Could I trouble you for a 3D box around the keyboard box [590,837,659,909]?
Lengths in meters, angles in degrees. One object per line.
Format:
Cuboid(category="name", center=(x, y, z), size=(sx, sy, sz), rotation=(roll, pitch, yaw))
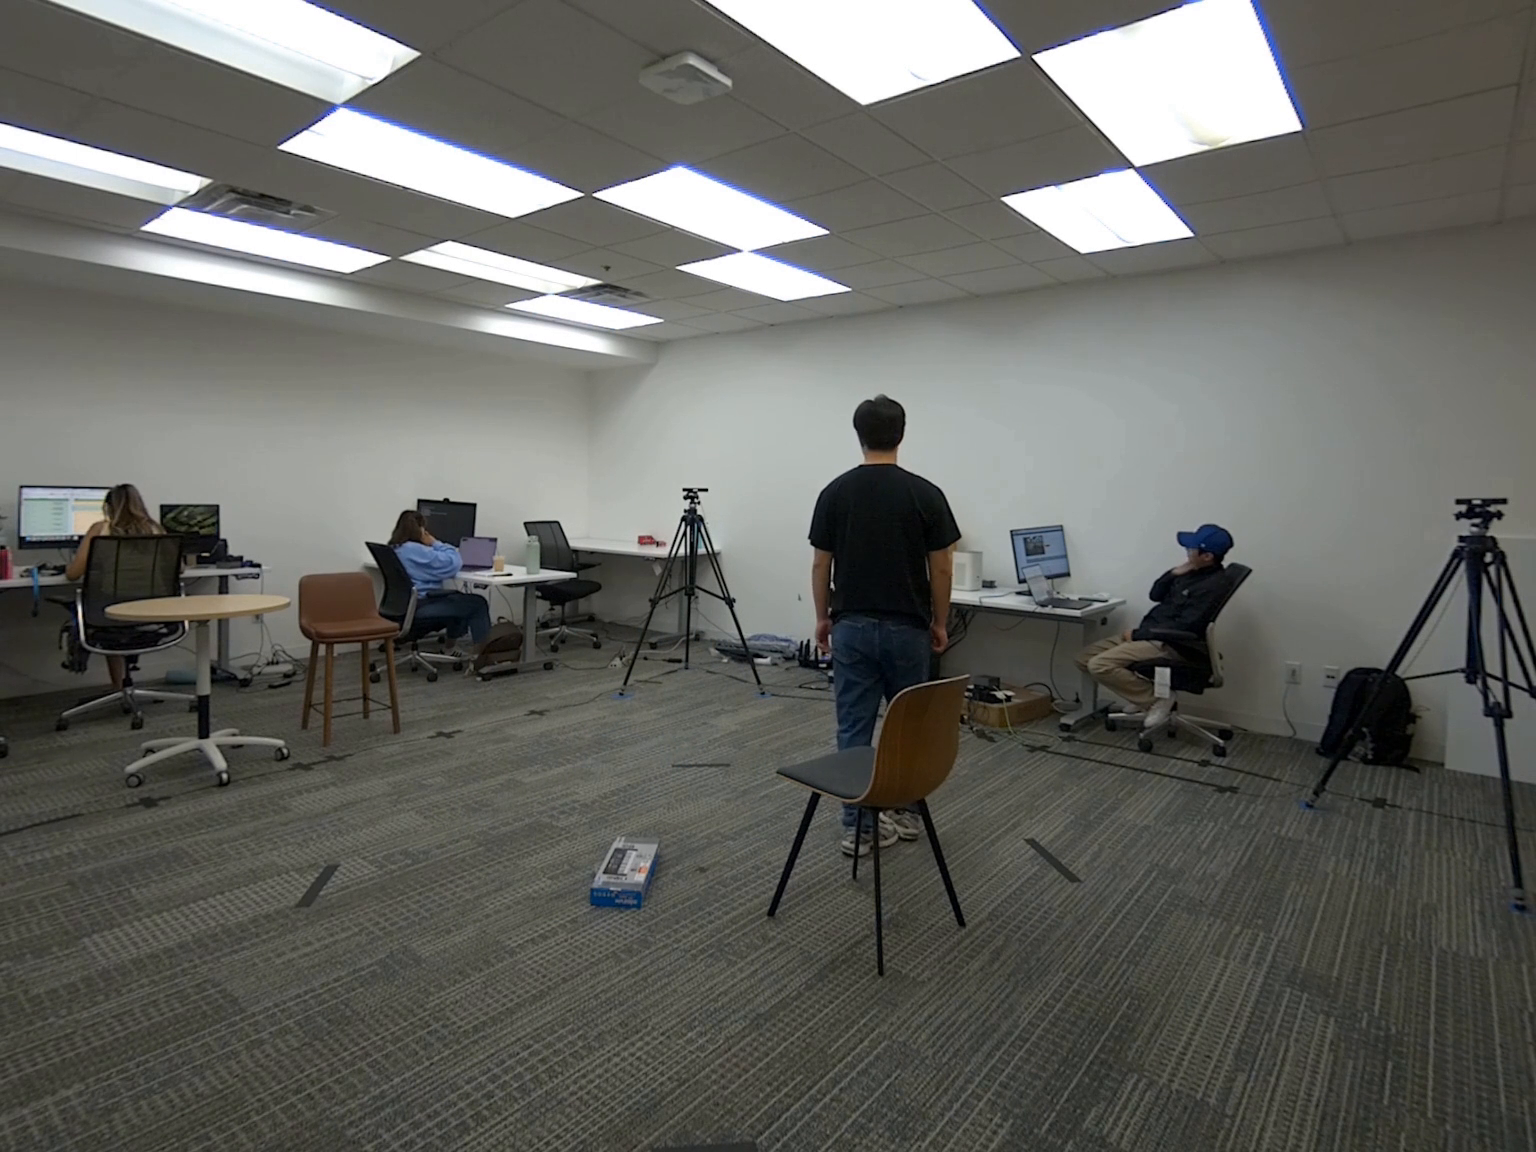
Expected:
Cuboid(category="keyboard box", center=(-0.510, 1.044, 3.028), size=(0.177, 0.059, 0.437), rotation=(2, 5, 2))
